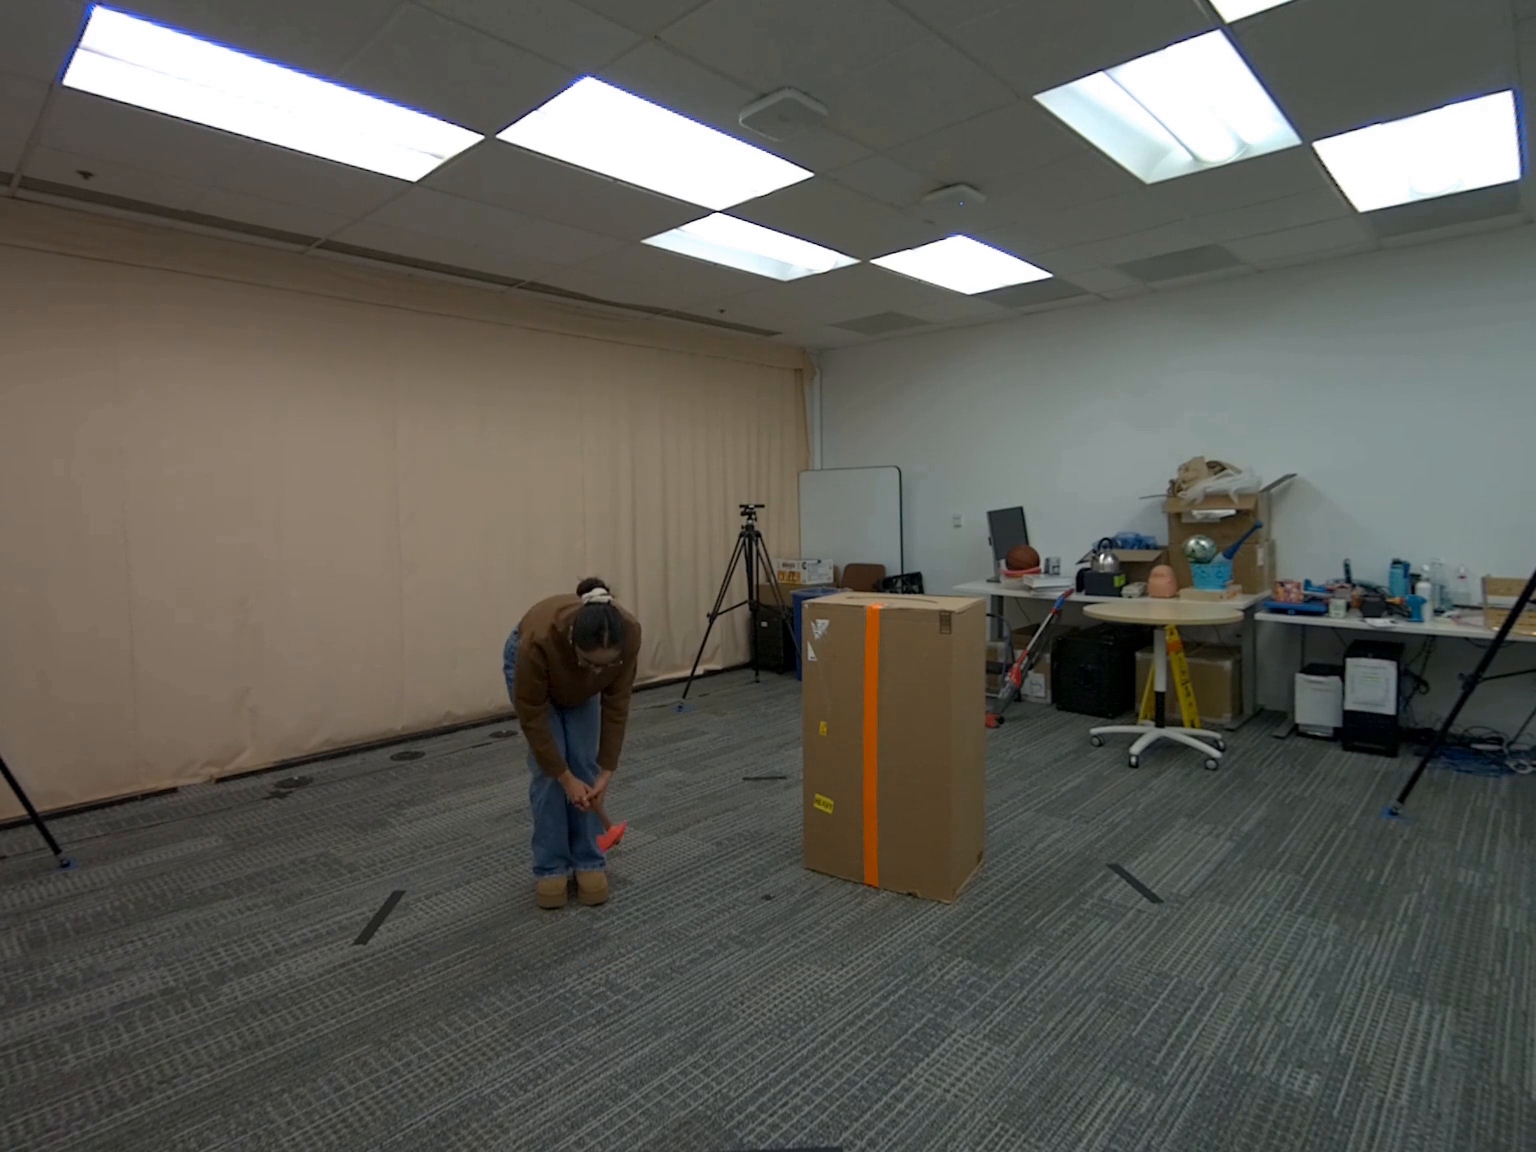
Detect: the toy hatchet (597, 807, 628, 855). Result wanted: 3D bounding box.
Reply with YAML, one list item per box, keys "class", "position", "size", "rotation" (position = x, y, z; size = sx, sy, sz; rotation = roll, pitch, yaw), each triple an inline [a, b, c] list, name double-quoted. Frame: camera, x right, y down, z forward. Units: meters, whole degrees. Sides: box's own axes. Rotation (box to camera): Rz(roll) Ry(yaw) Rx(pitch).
- class: "toy hatchet"
  position: [-0.566, 0.830, 2.818]
  size: [0.028, 0.131, 0.279]
  rotation: [30, -10, -38]
